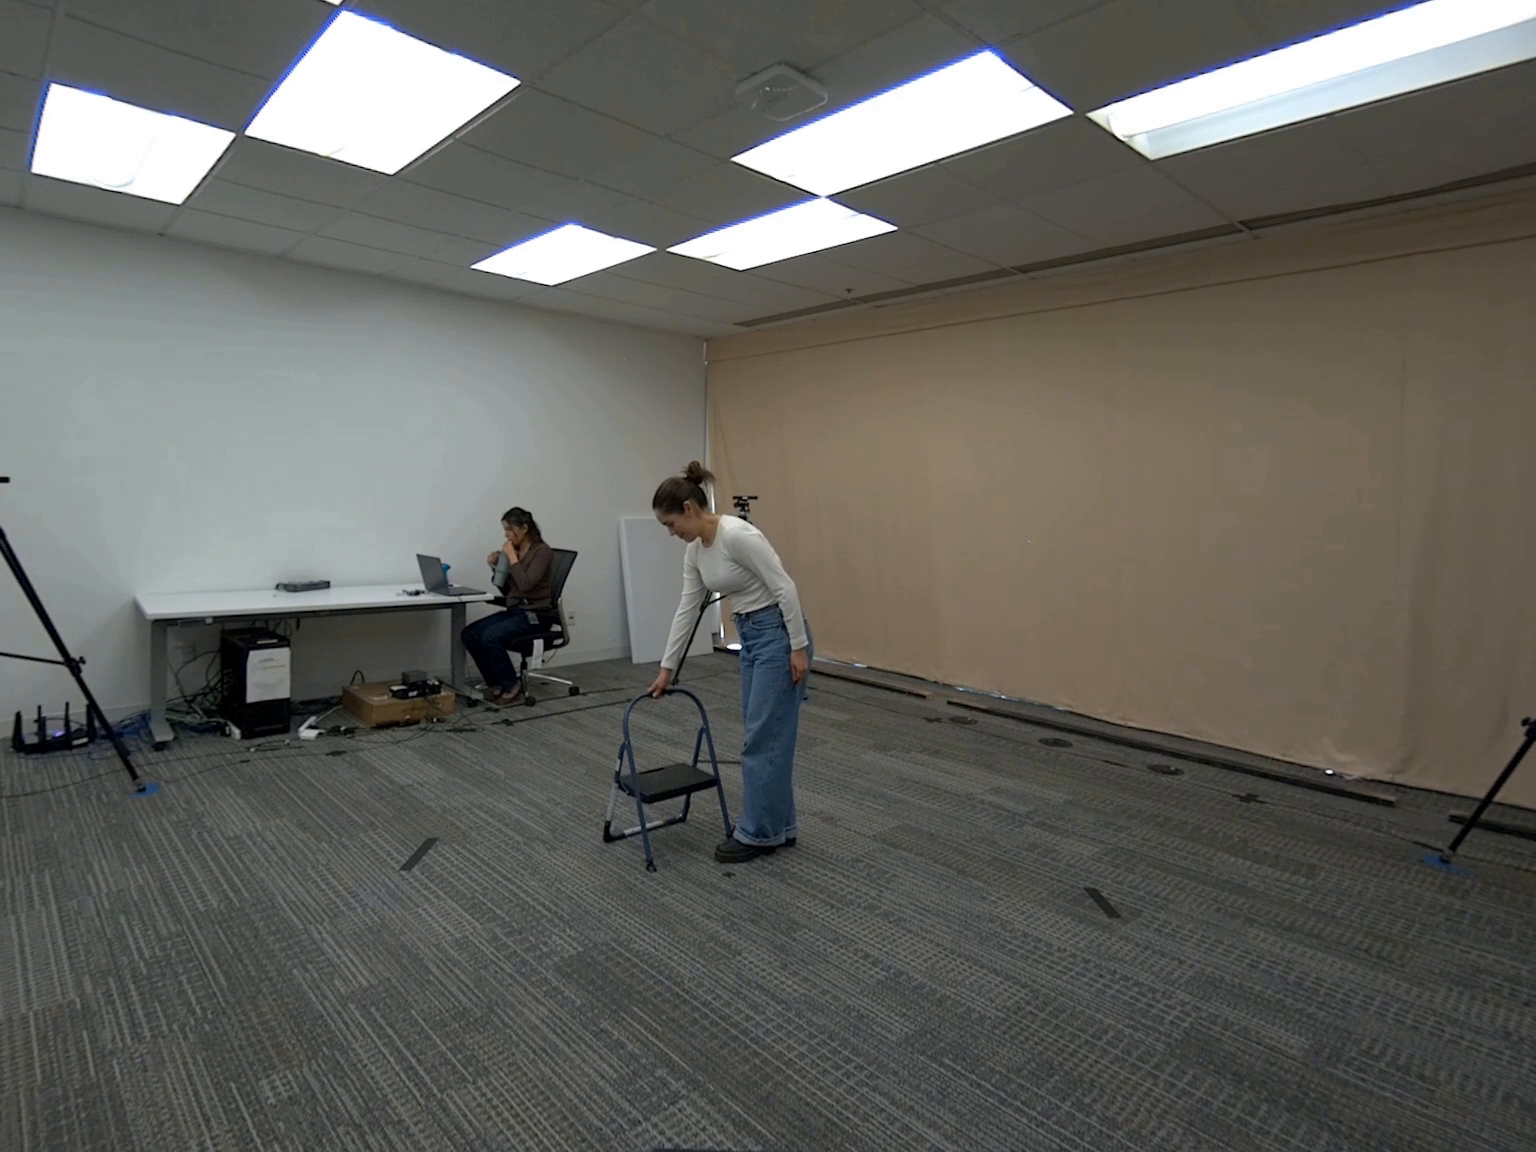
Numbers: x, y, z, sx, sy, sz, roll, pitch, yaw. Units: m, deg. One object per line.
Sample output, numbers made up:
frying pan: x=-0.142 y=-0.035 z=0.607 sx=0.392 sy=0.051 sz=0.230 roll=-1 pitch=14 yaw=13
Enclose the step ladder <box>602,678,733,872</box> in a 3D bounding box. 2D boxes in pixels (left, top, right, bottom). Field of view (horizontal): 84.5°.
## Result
step ladder: x=-0.395 y=0.767 z=3.364 sx=0.421 sy=0.604 sz=0.358 roll=-2 pitch=5 yaw=-42
